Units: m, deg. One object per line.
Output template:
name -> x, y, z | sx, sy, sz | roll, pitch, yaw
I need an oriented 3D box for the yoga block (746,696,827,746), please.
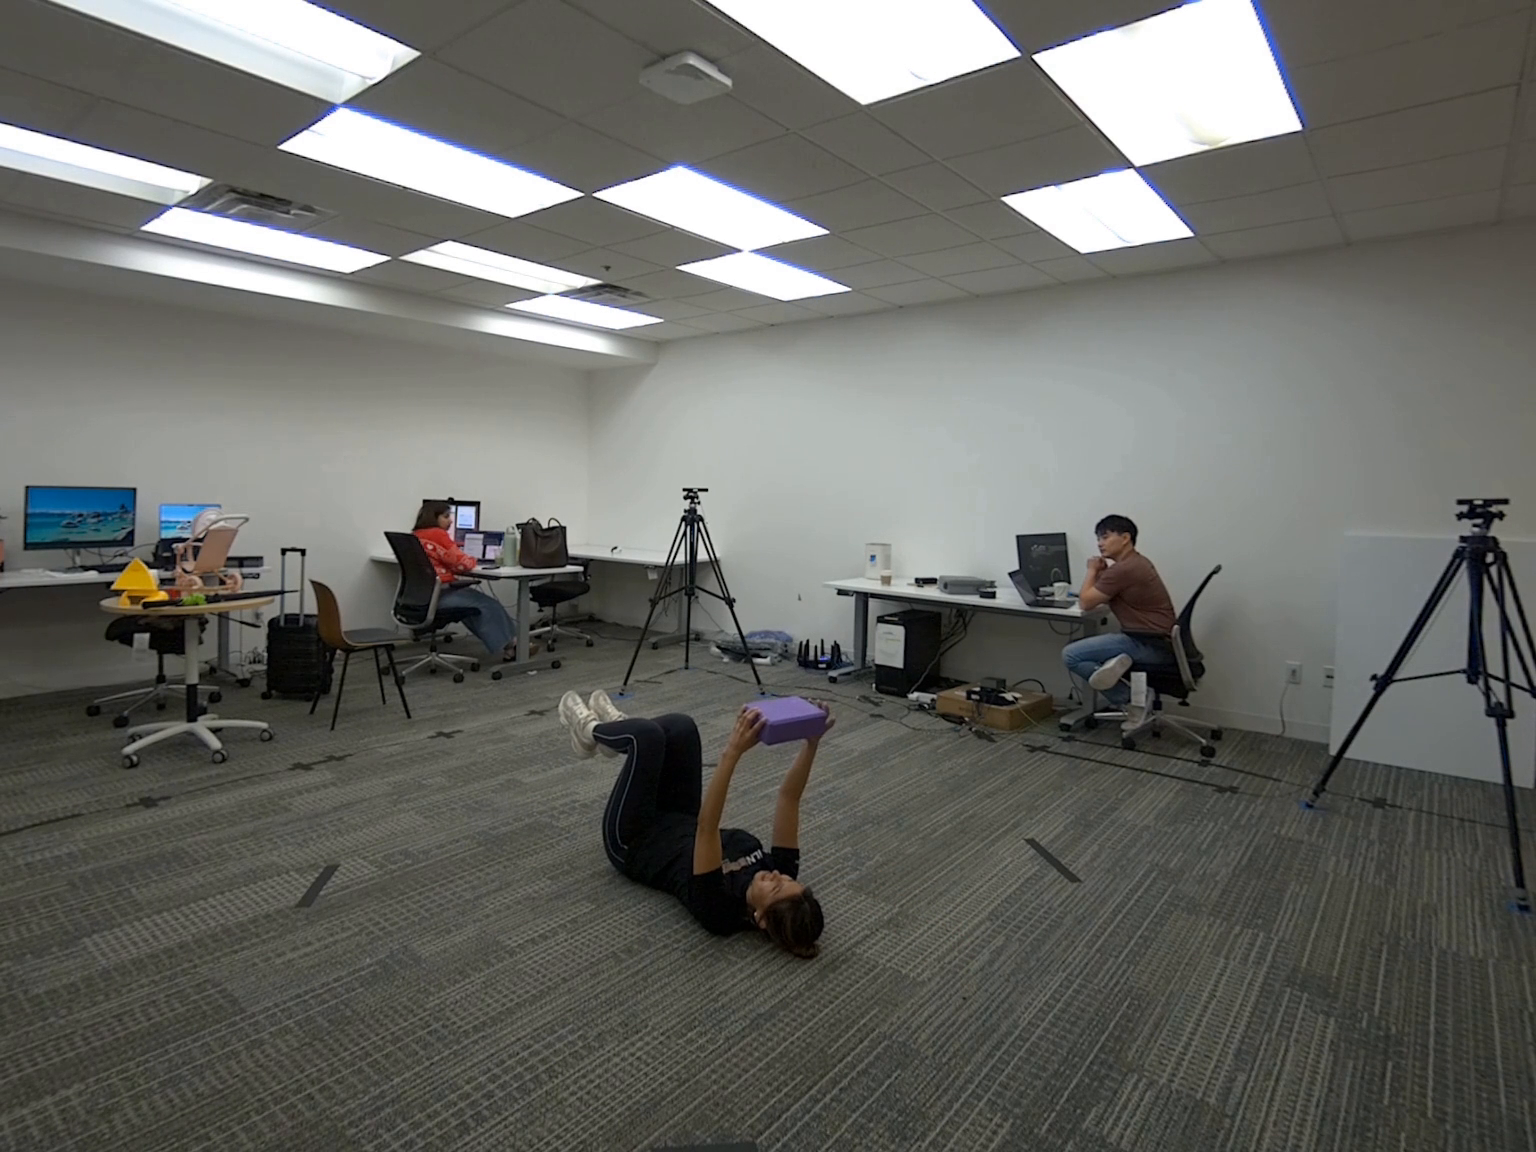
yoga block -> 0.041, 0.429, 2.571 | 0.223, 0.076, 0.155 | -2, 14, -36
